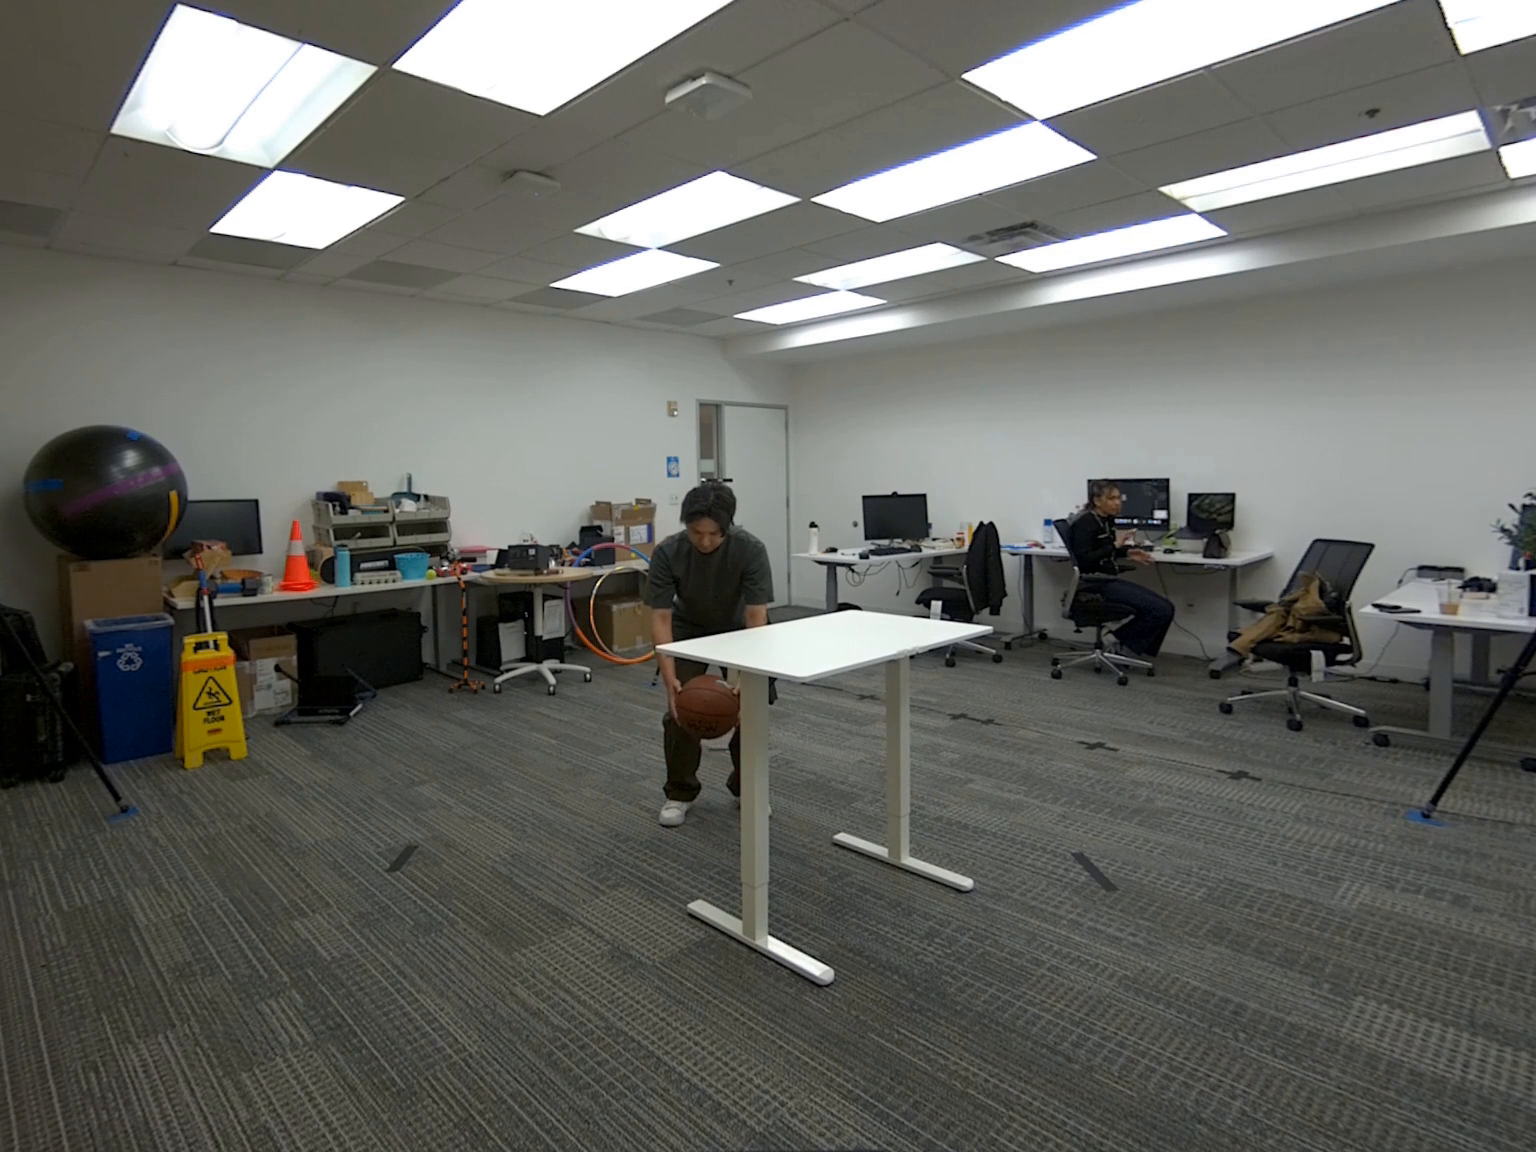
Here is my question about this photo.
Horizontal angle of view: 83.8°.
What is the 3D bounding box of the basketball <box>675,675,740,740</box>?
[{"bbox_3d":[-0.223,0.485,3.192,0.236,0.235,0.237,-1,5,-2],"label":"basketball"}]
